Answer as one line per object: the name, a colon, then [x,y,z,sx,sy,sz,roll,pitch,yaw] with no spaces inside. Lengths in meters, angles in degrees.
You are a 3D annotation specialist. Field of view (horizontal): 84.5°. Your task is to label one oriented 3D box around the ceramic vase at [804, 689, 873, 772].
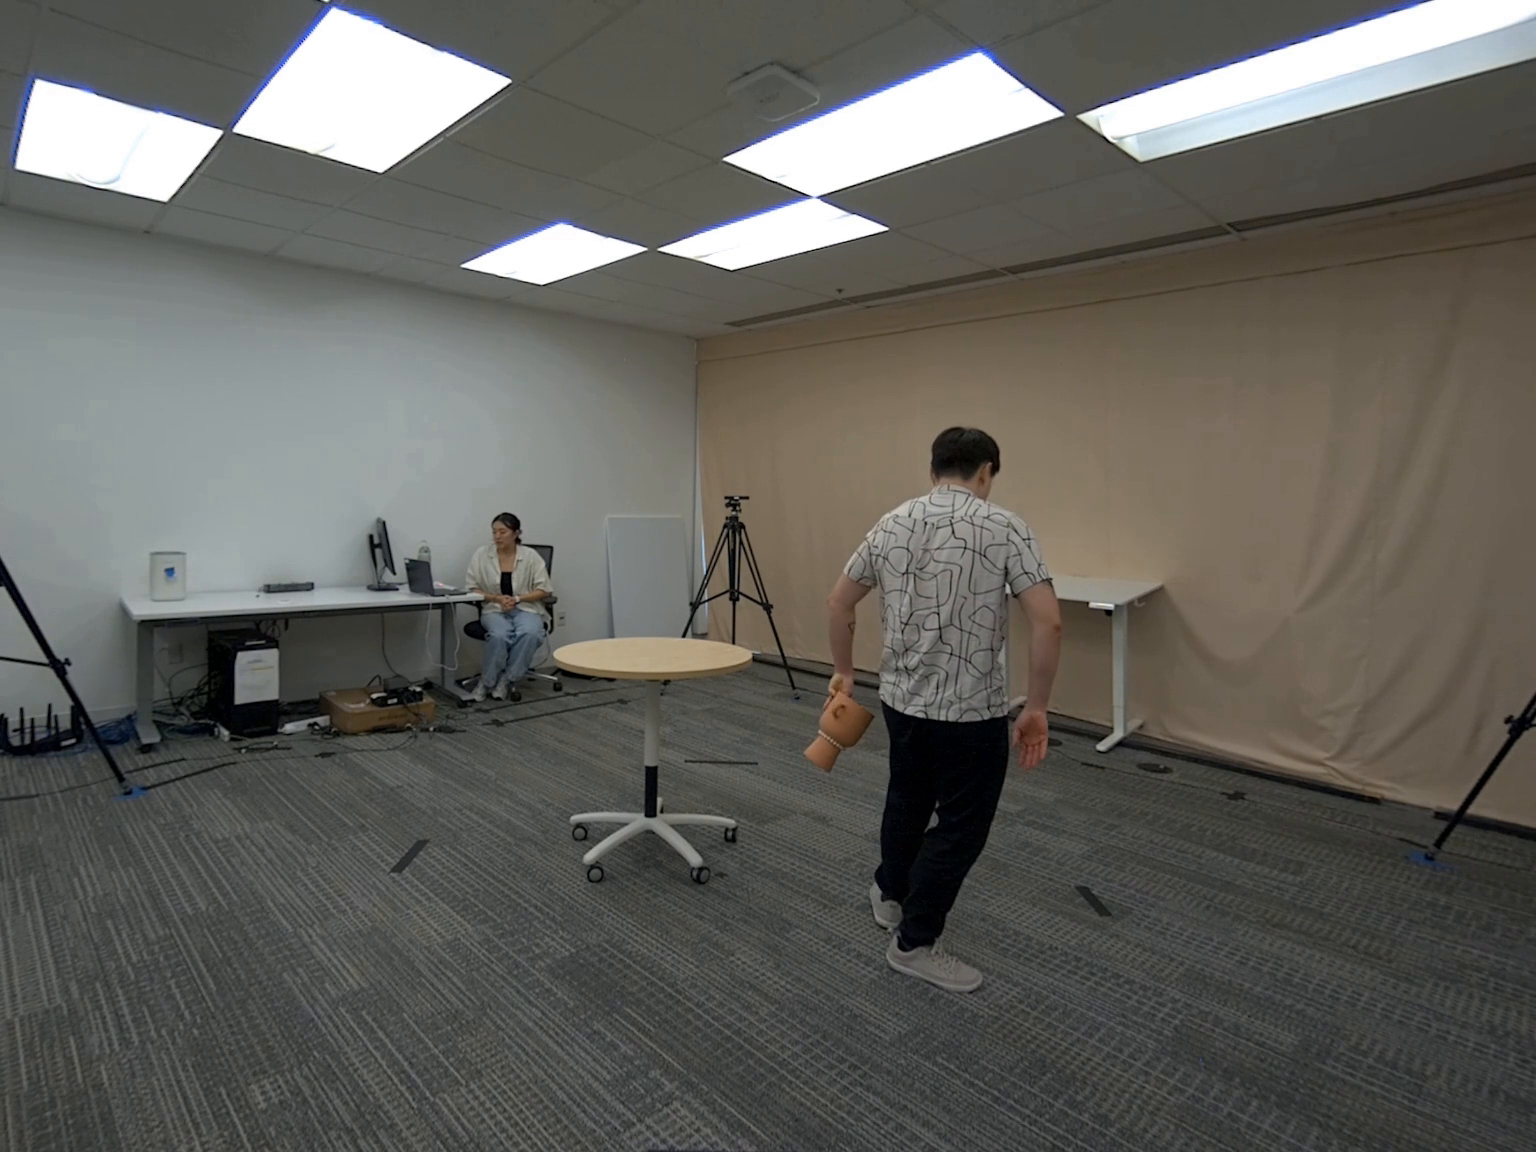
ceramic vase: [0.206,0.479,2.582,0.156,0.220,0.136,35,-5,-14]
